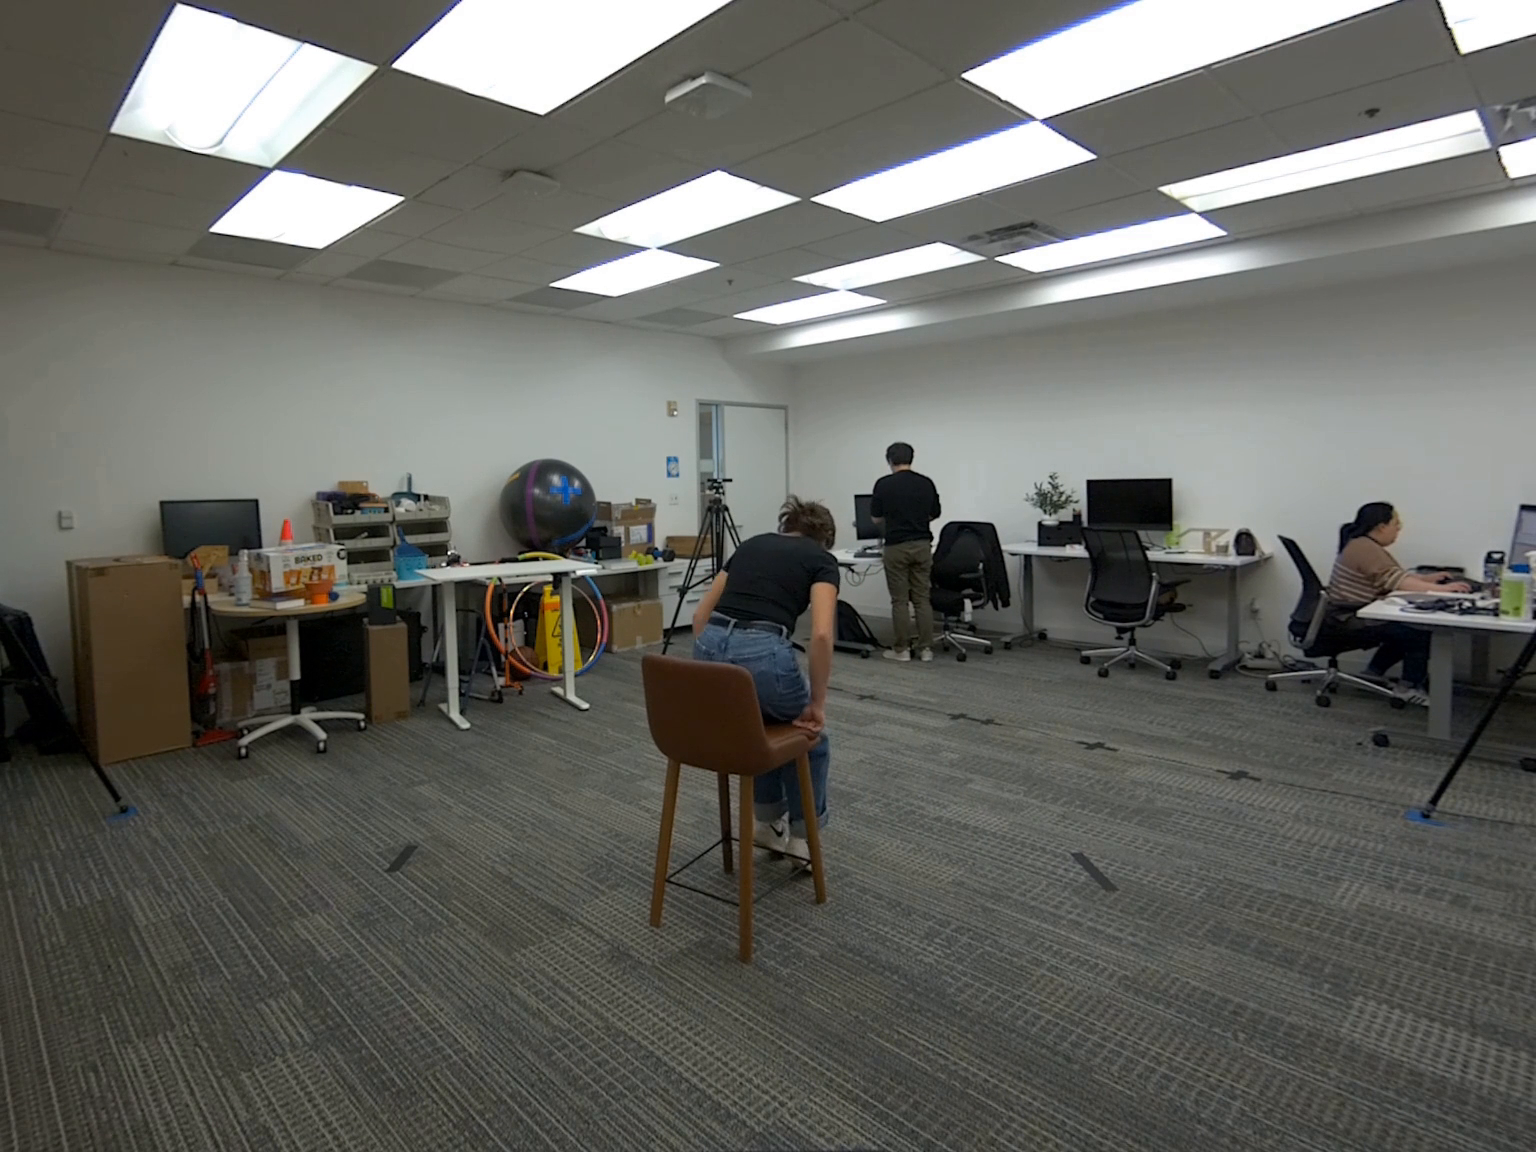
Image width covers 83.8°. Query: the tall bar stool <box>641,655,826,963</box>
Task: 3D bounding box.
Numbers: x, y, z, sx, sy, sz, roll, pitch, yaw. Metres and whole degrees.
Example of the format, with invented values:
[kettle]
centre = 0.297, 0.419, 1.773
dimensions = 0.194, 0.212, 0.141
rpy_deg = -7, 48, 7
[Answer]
[tall bar stool]
centre = -0.107, 0.656, 2.725
dimensions = 0.470, 0.885, 0.457
rpy_deg = 3, 7, 35
